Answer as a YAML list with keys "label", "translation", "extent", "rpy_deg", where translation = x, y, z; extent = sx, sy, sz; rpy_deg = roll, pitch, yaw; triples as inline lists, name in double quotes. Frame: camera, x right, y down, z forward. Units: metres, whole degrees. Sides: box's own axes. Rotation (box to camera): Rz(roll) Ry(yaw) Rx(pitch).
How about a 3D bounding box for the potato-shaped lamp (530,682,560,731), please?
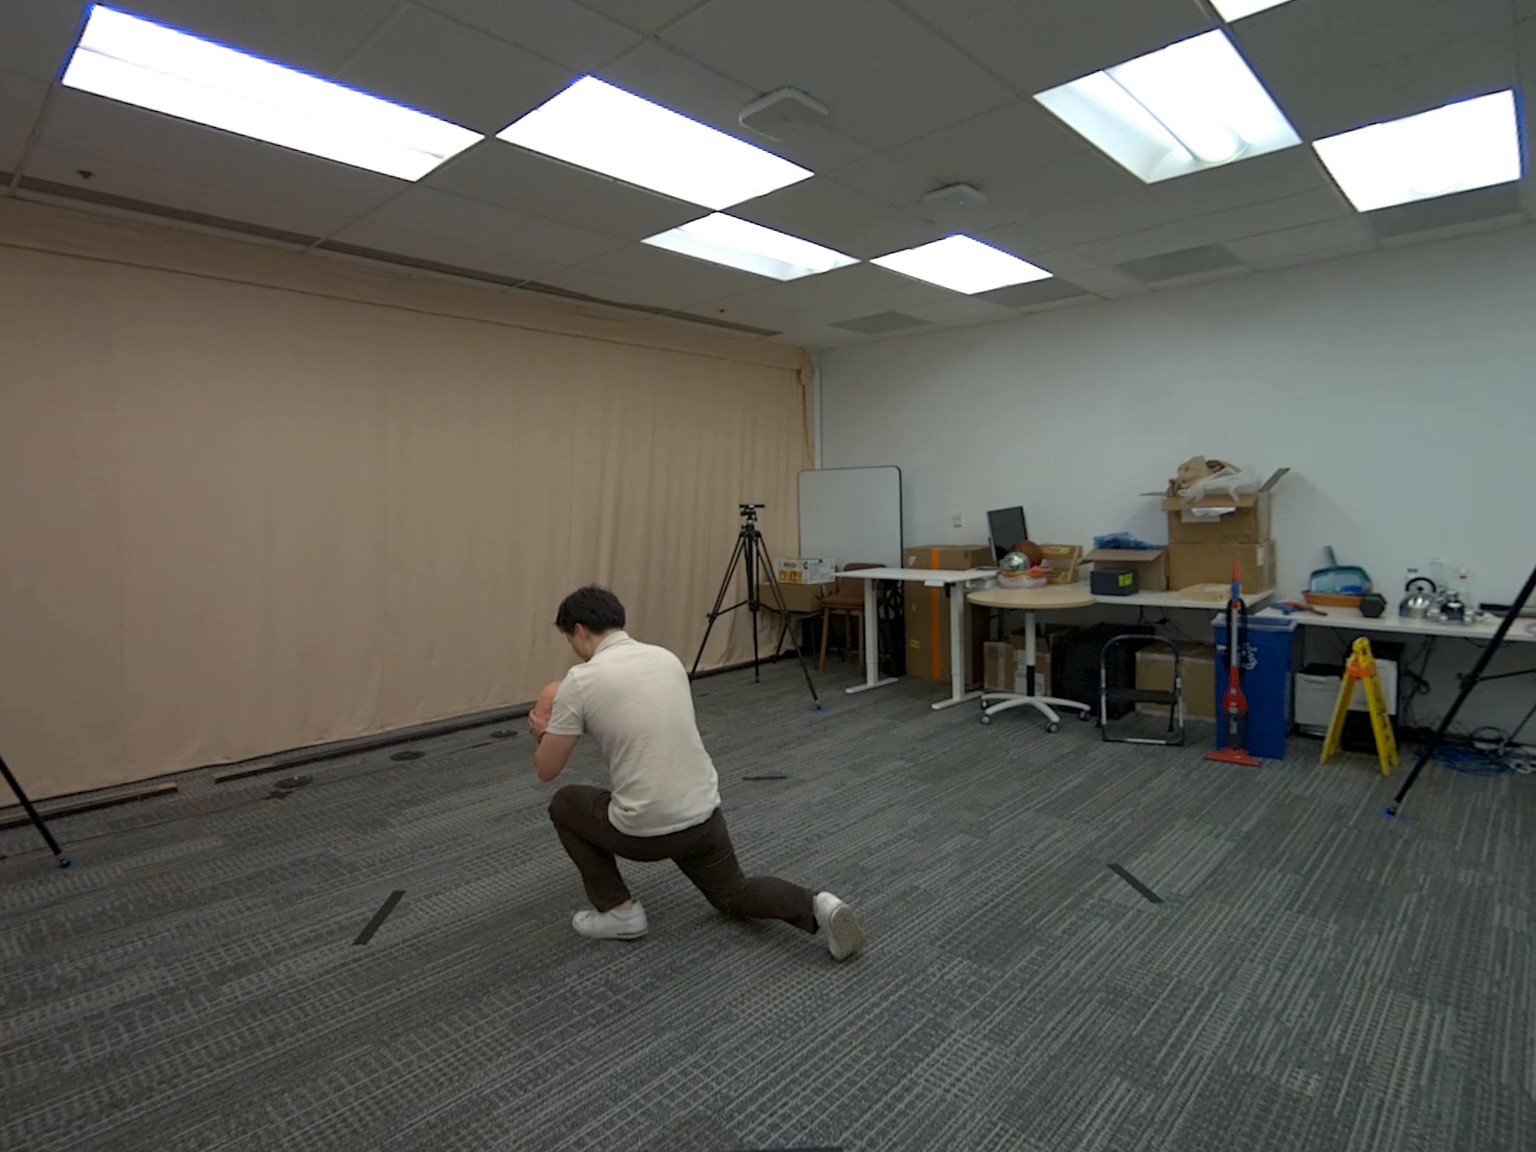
- label: "potato-shaped lamp"
  translation: [-0.716, 0.463, 2.935]
  extent: [0.173, 0.198, 0.163]
  rpy_deg: [11, 0, 7]
